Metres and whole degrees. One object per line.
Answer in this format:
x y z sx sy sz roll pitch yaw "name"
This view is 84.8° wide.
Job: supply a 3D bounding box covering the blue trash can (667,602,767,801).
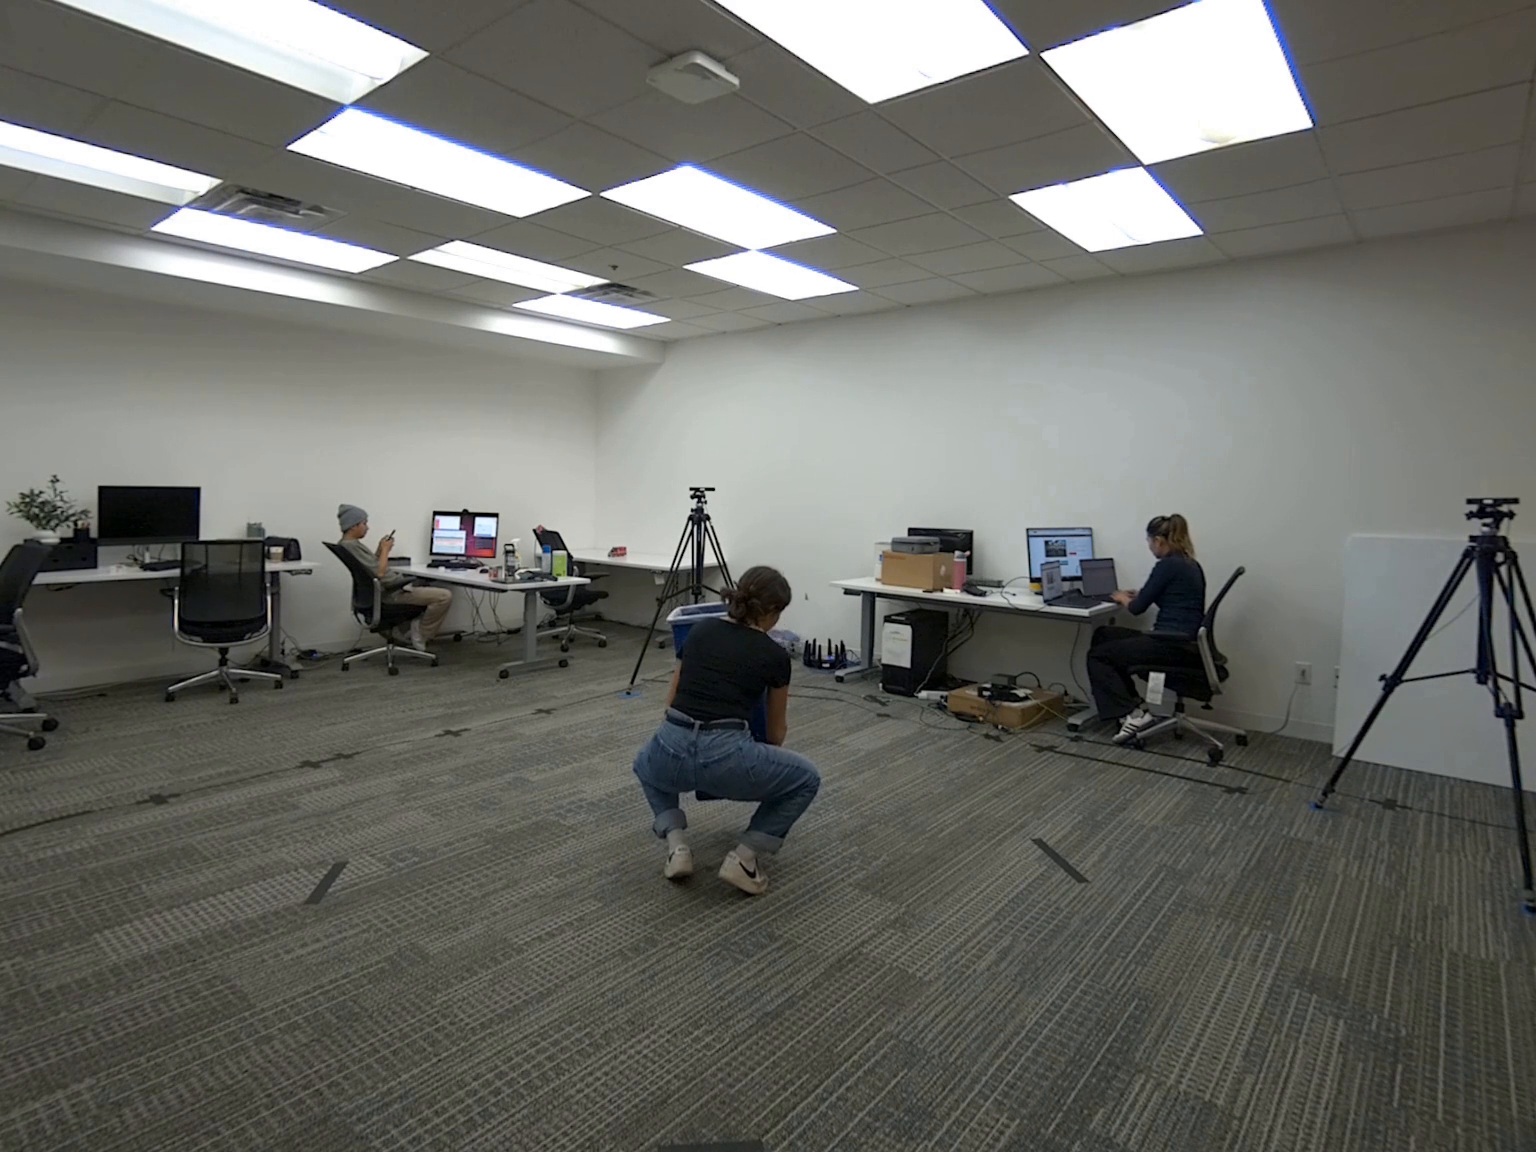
-0.179 0.474 3.369 0.374 0.712 0.378 -5 2 0 "blue trash can"
